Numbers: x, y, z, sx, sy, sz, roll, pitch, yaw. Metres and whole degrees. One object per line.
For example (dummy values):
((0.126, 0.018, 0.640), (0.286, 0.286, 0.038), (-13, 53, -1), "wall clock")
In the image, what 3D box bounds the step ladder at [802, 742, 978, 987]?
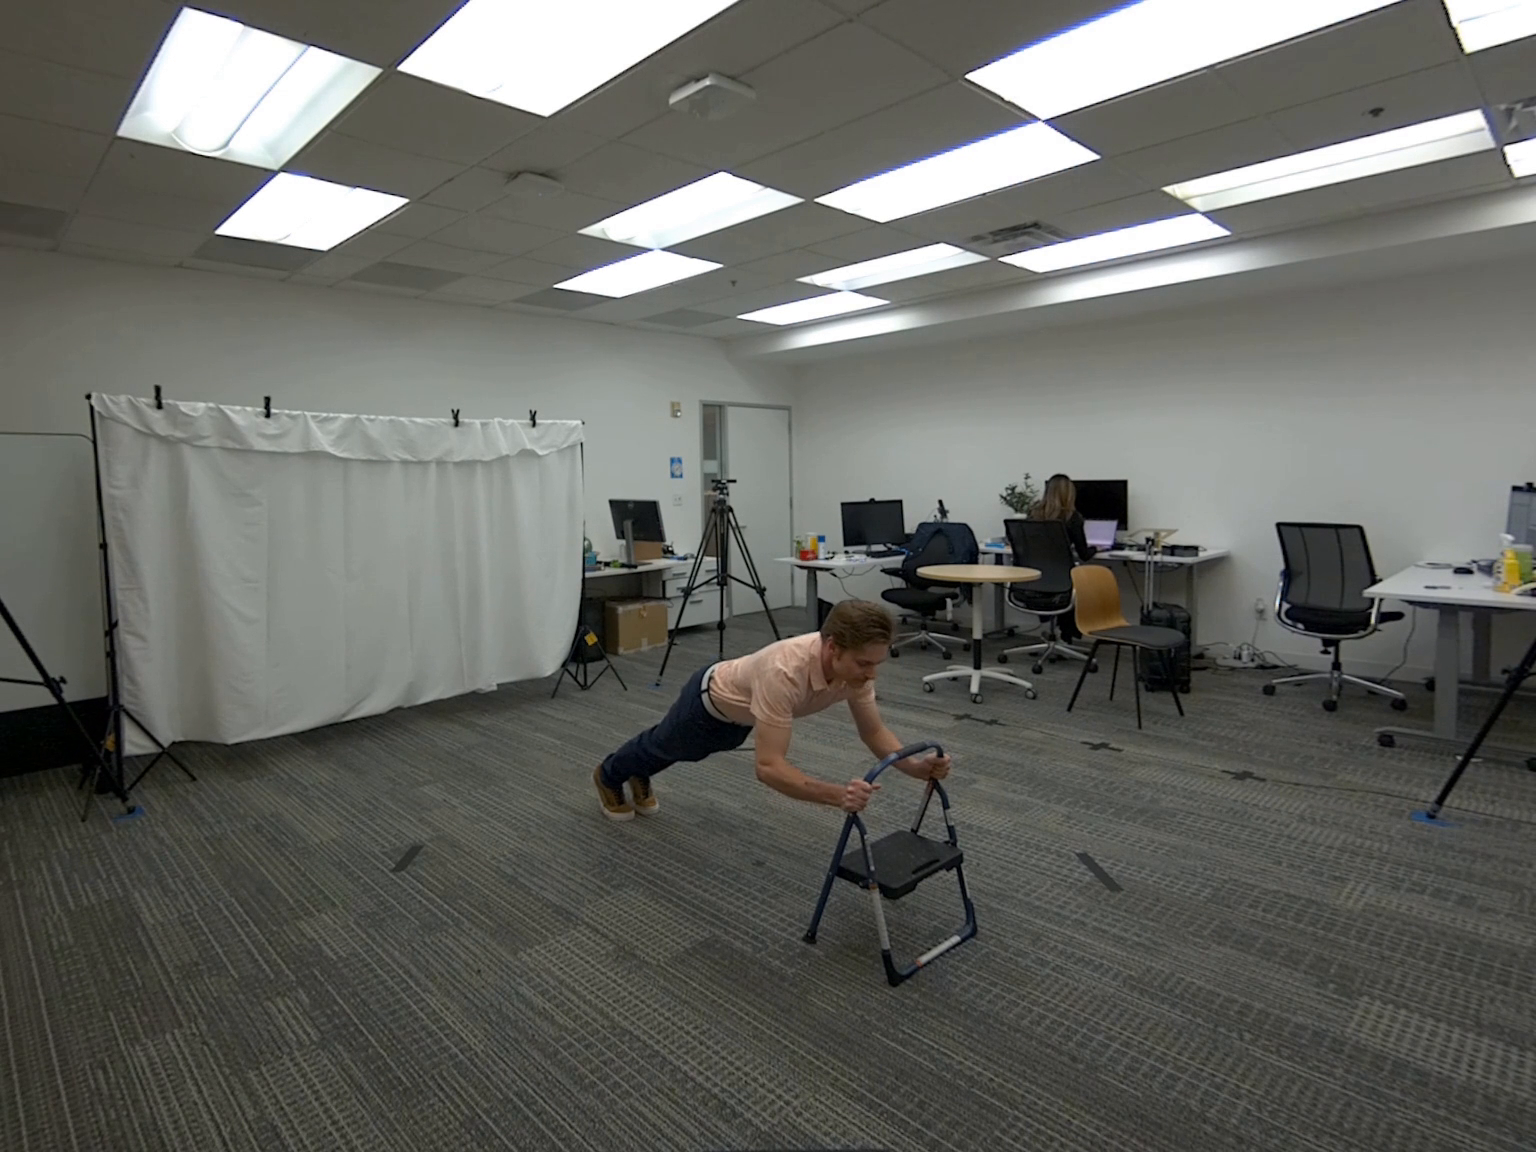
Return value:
((0.374, 0.800, 2.581), (0.419, 0.604, 0.360), (-5, 6, -43), "step ladder")
